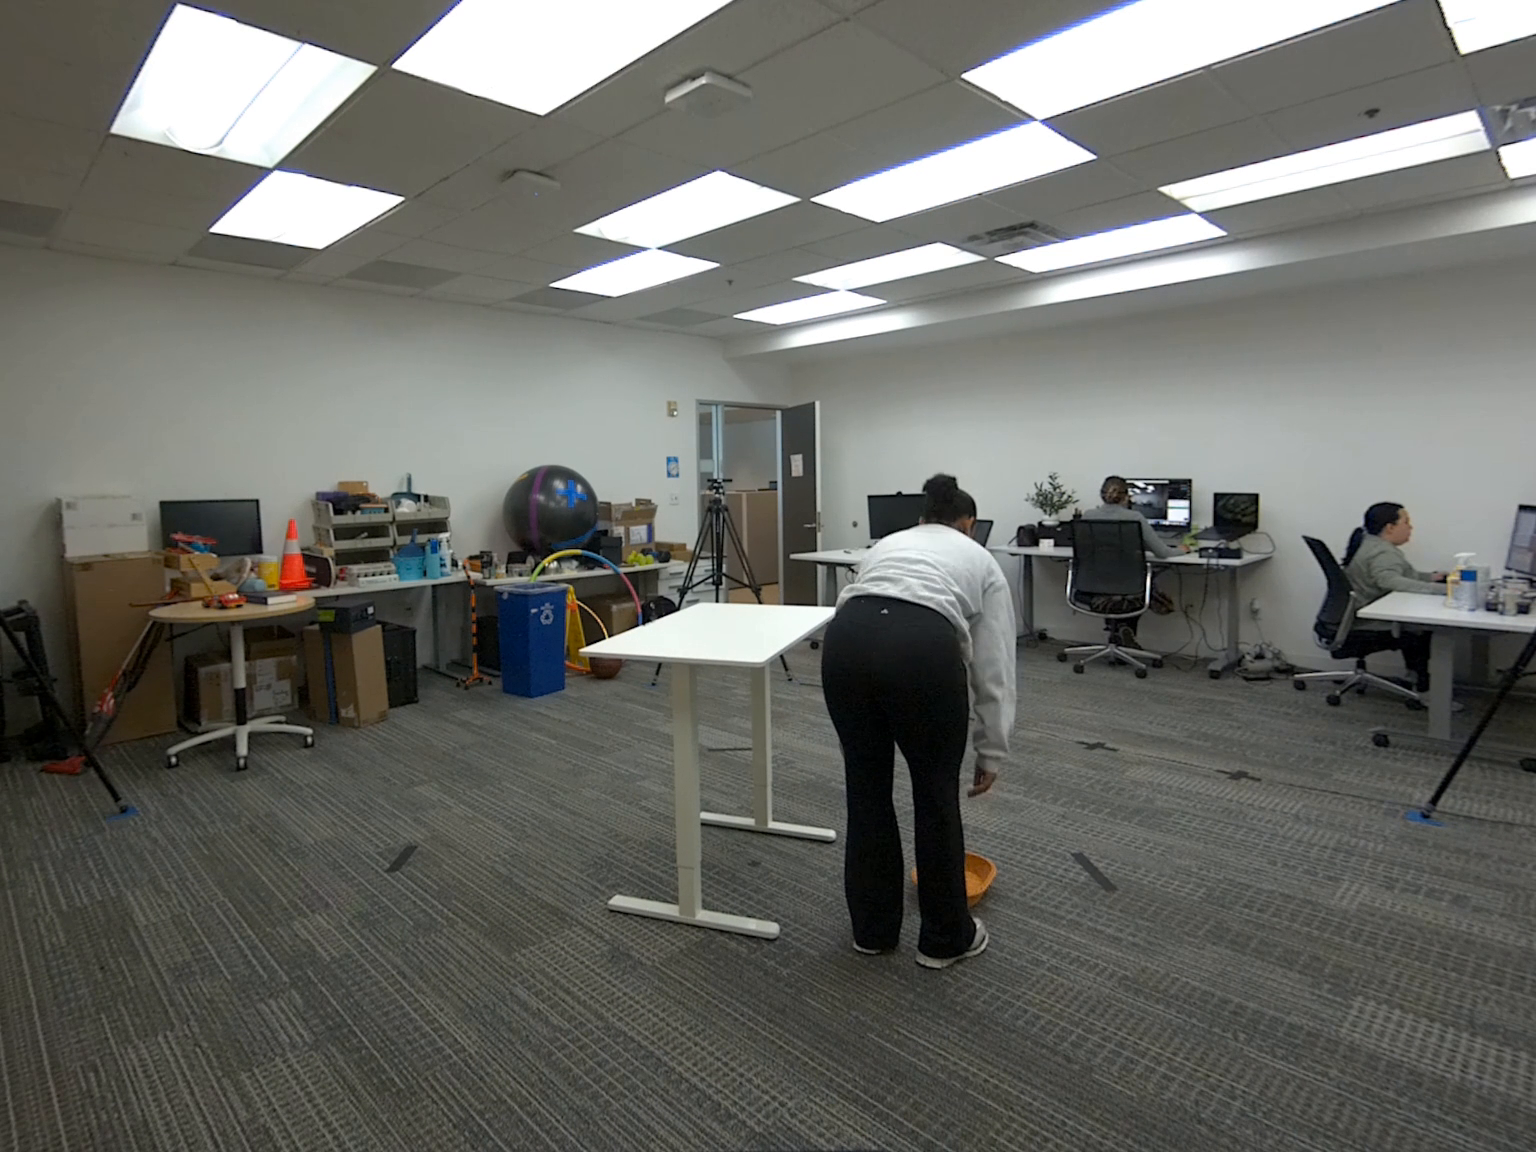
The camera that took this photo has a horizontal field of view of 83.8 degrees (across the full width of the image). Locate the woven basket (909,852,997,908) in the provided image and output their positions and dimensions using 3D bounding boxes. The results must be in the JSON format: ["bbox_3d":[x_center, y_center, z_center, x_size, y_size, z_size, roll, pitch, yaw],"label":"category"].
[{"bbox_3d":[0.620,1.022,2.869,0.259,0.073,0.342,3,8,33],"label":"woven basket"}]
